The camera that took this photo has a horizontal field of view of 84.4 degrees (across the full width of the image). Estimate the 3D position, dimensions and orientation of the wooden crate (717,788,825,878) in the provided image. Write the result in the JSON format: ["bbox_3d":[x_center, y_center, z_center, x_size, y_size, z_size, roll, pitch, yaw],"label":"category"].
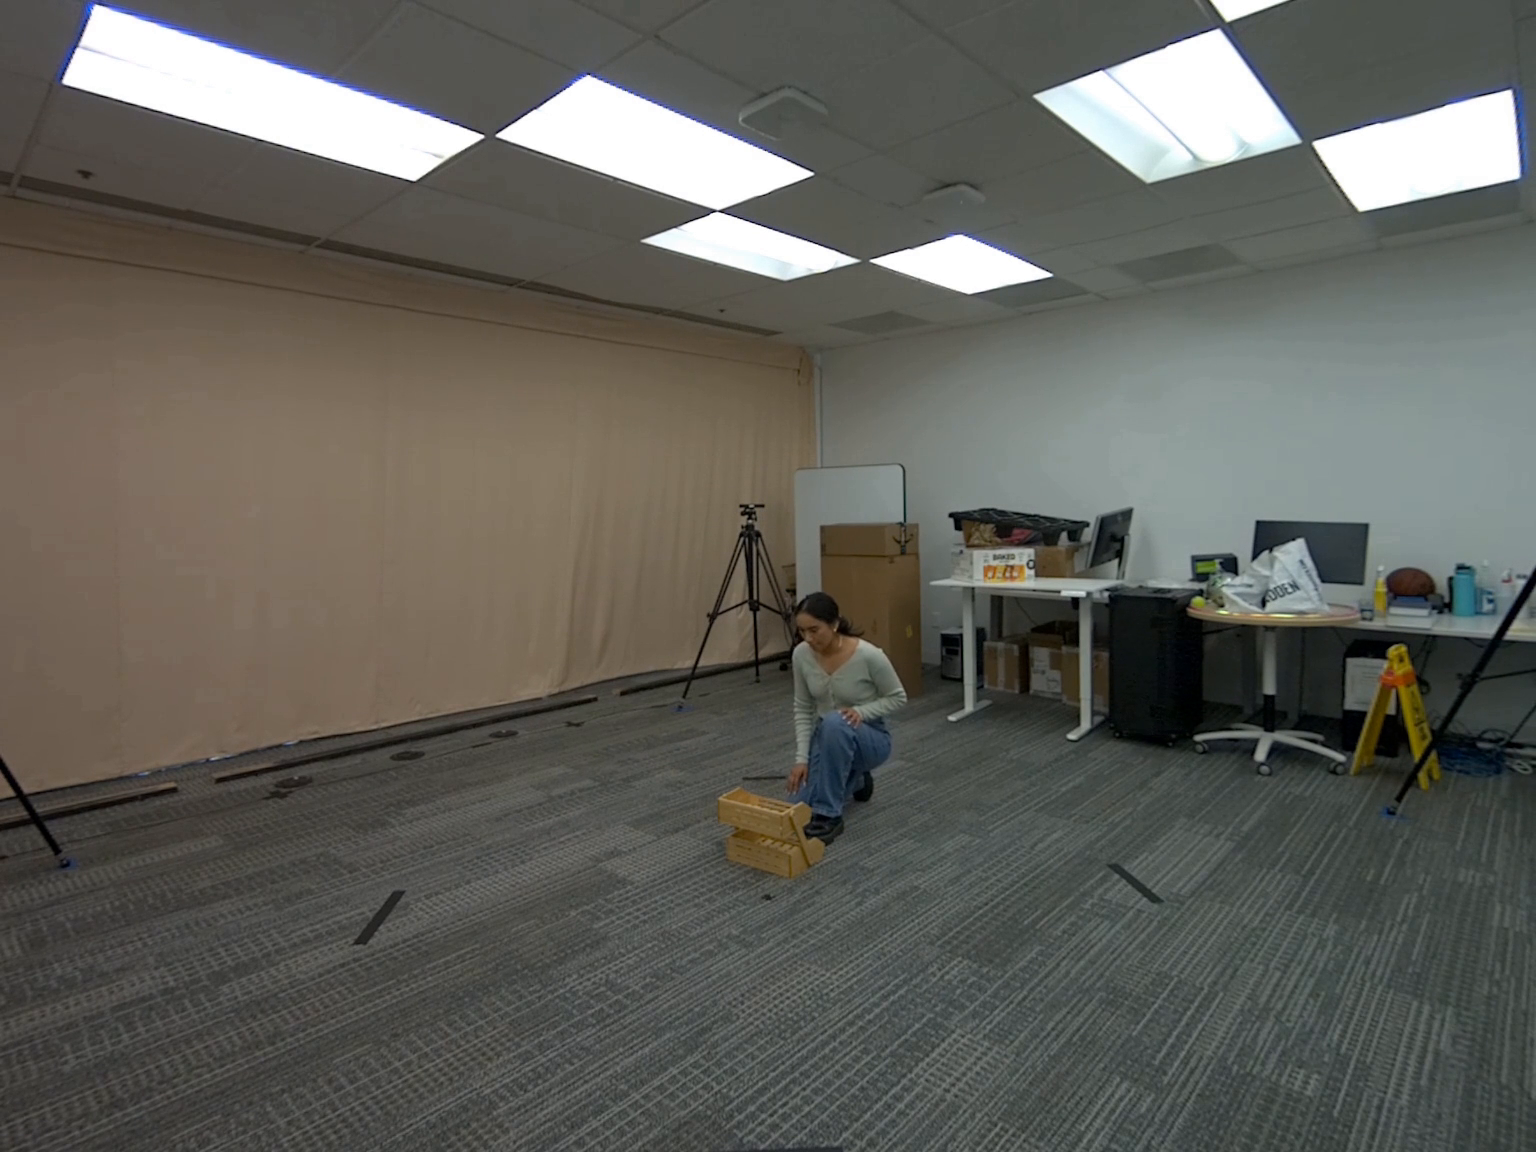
[{"bbox_3d":[0.016,0.978,3.287,0.334,0.272,0.293,2,6,35],"label":"wooden crate"}]
